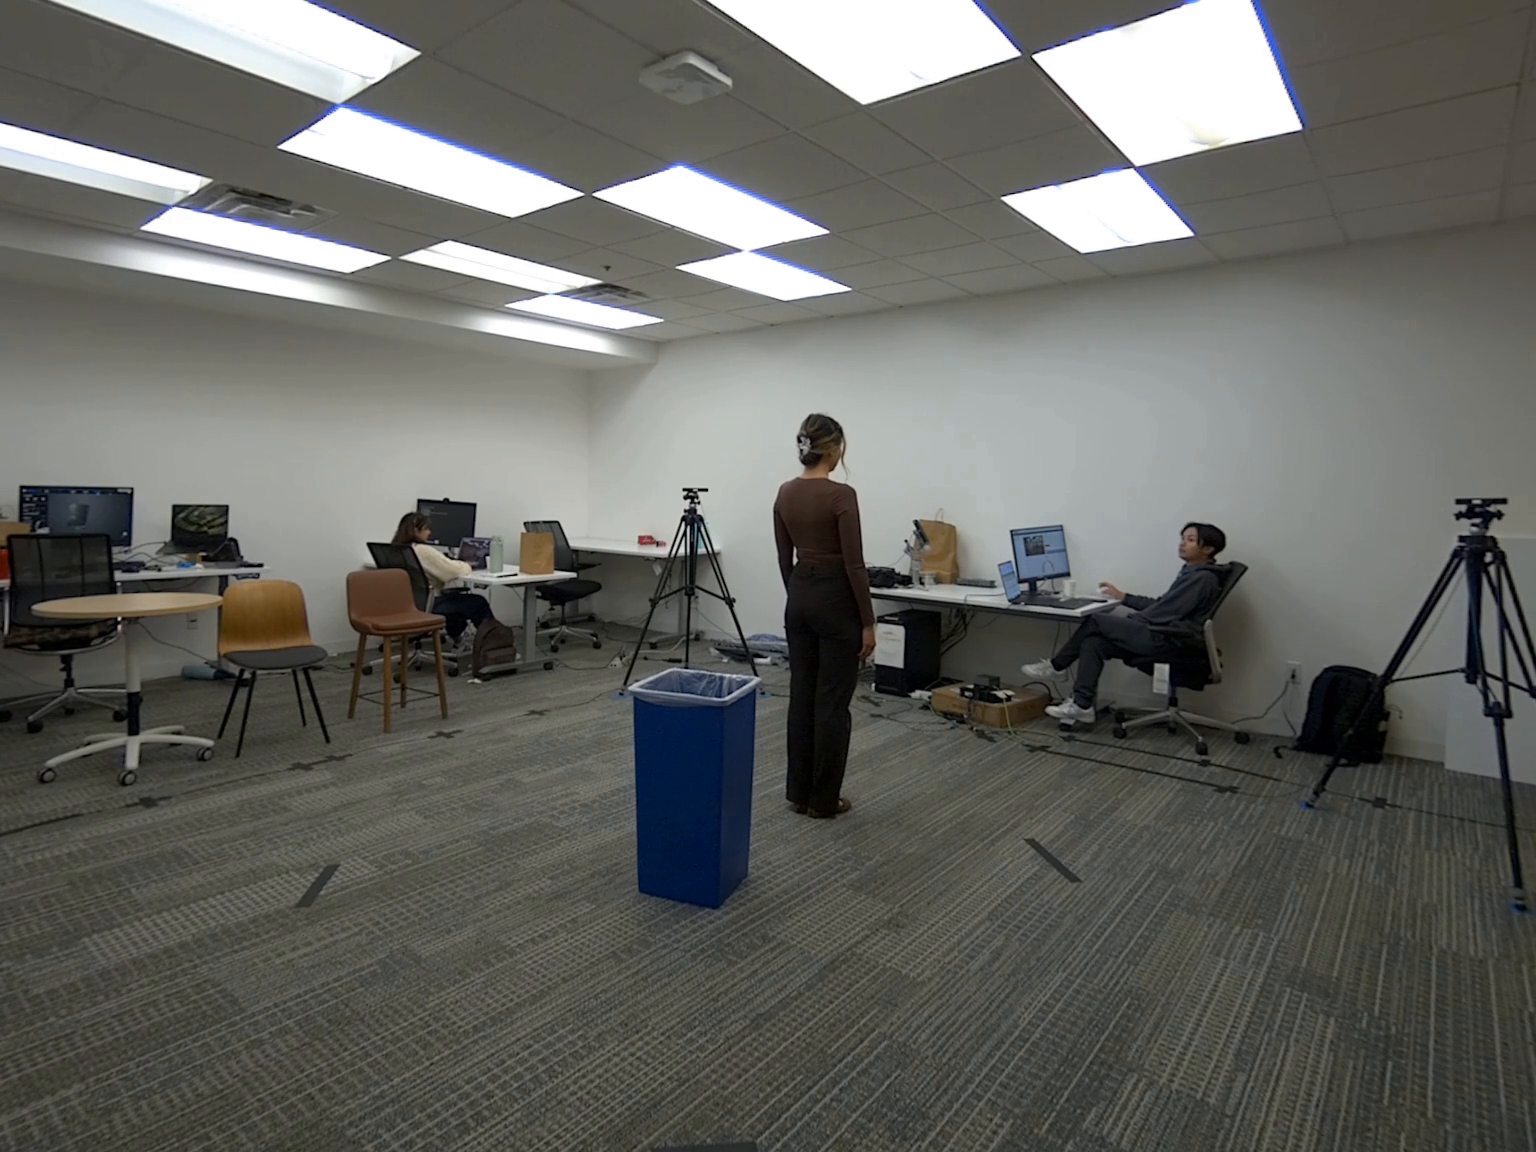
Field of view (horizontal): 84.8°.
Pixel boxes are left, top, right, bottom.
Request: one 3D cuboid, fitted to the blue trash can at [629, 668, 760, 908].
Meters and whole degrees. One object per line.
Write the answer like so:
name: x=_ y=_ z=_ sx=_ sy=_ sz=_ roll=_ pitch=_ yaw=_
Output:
blue trash can: x=-0.263 y=0.721 z=2.977 sx=0.387 sy=0.712 sz=0.367 roll=2 pitch=3 yaw=21
